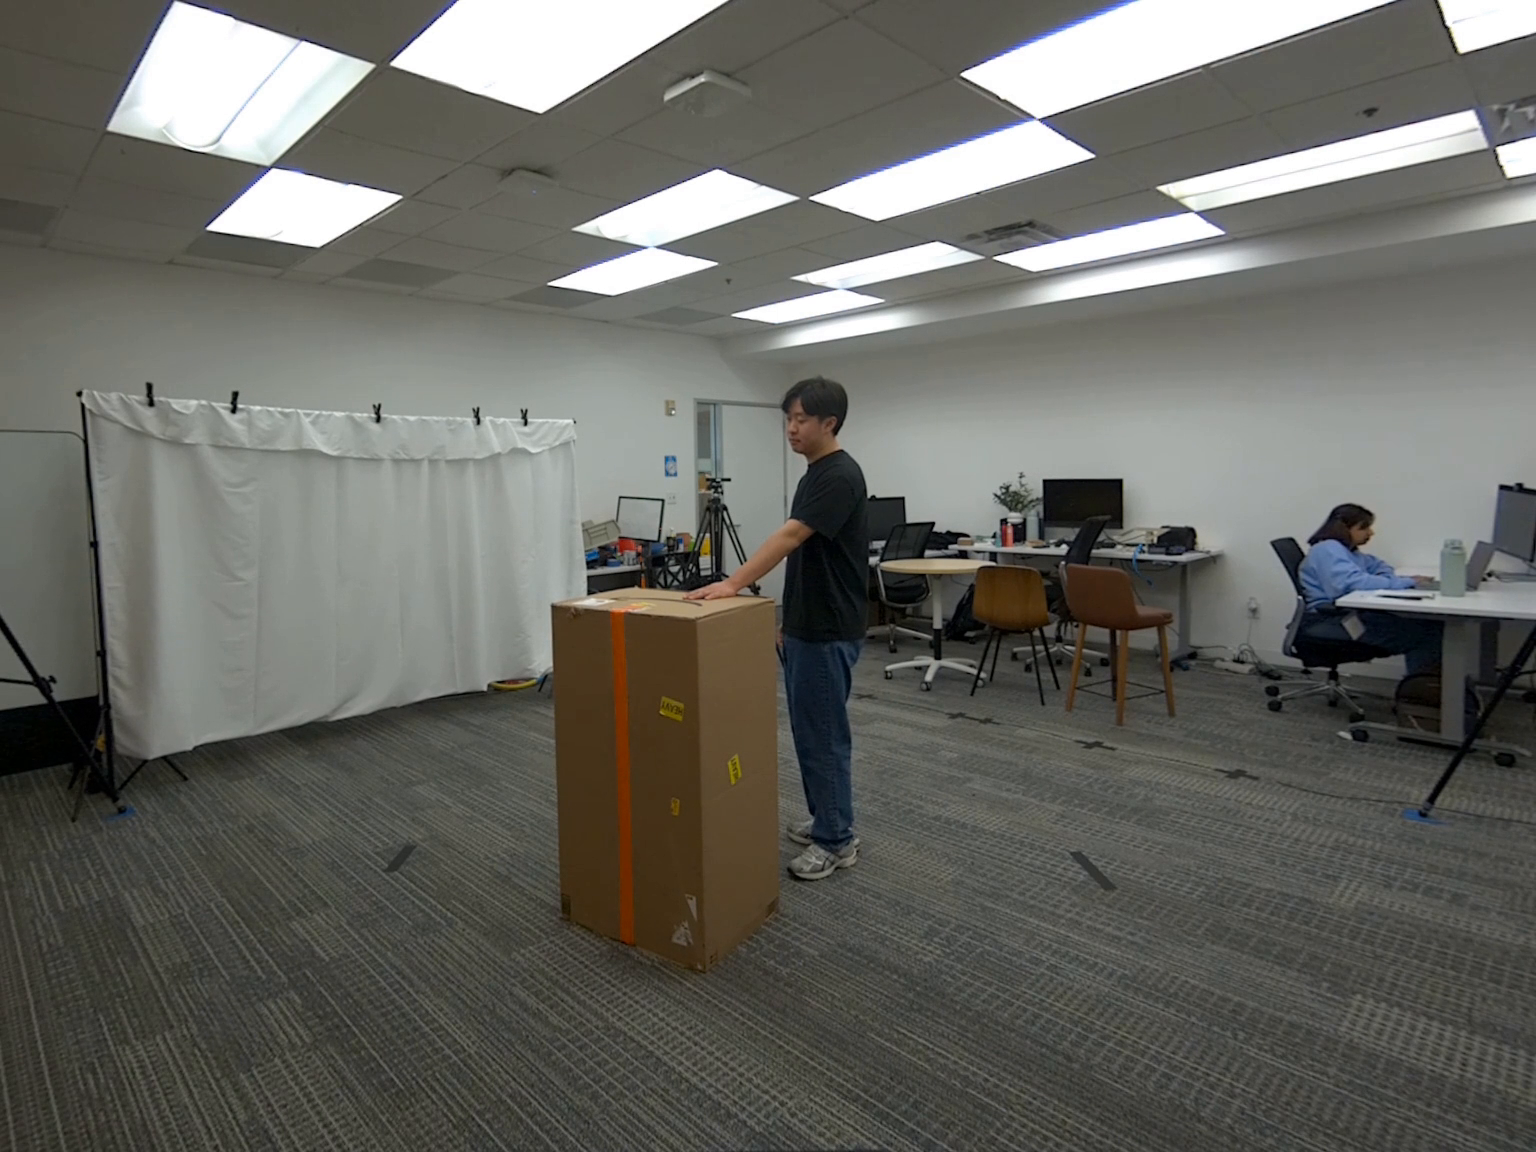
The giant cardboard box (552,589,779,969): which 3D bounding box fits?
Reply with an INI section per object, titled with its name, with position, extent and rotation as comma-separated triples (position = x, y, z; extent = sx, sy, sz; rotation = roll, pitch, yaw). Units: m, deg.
[giant cardboard box]
position = -0.321, 0.580, 2.712
extent = 0.600, 1.022, 0.436
rotation = 2, 6, 35
